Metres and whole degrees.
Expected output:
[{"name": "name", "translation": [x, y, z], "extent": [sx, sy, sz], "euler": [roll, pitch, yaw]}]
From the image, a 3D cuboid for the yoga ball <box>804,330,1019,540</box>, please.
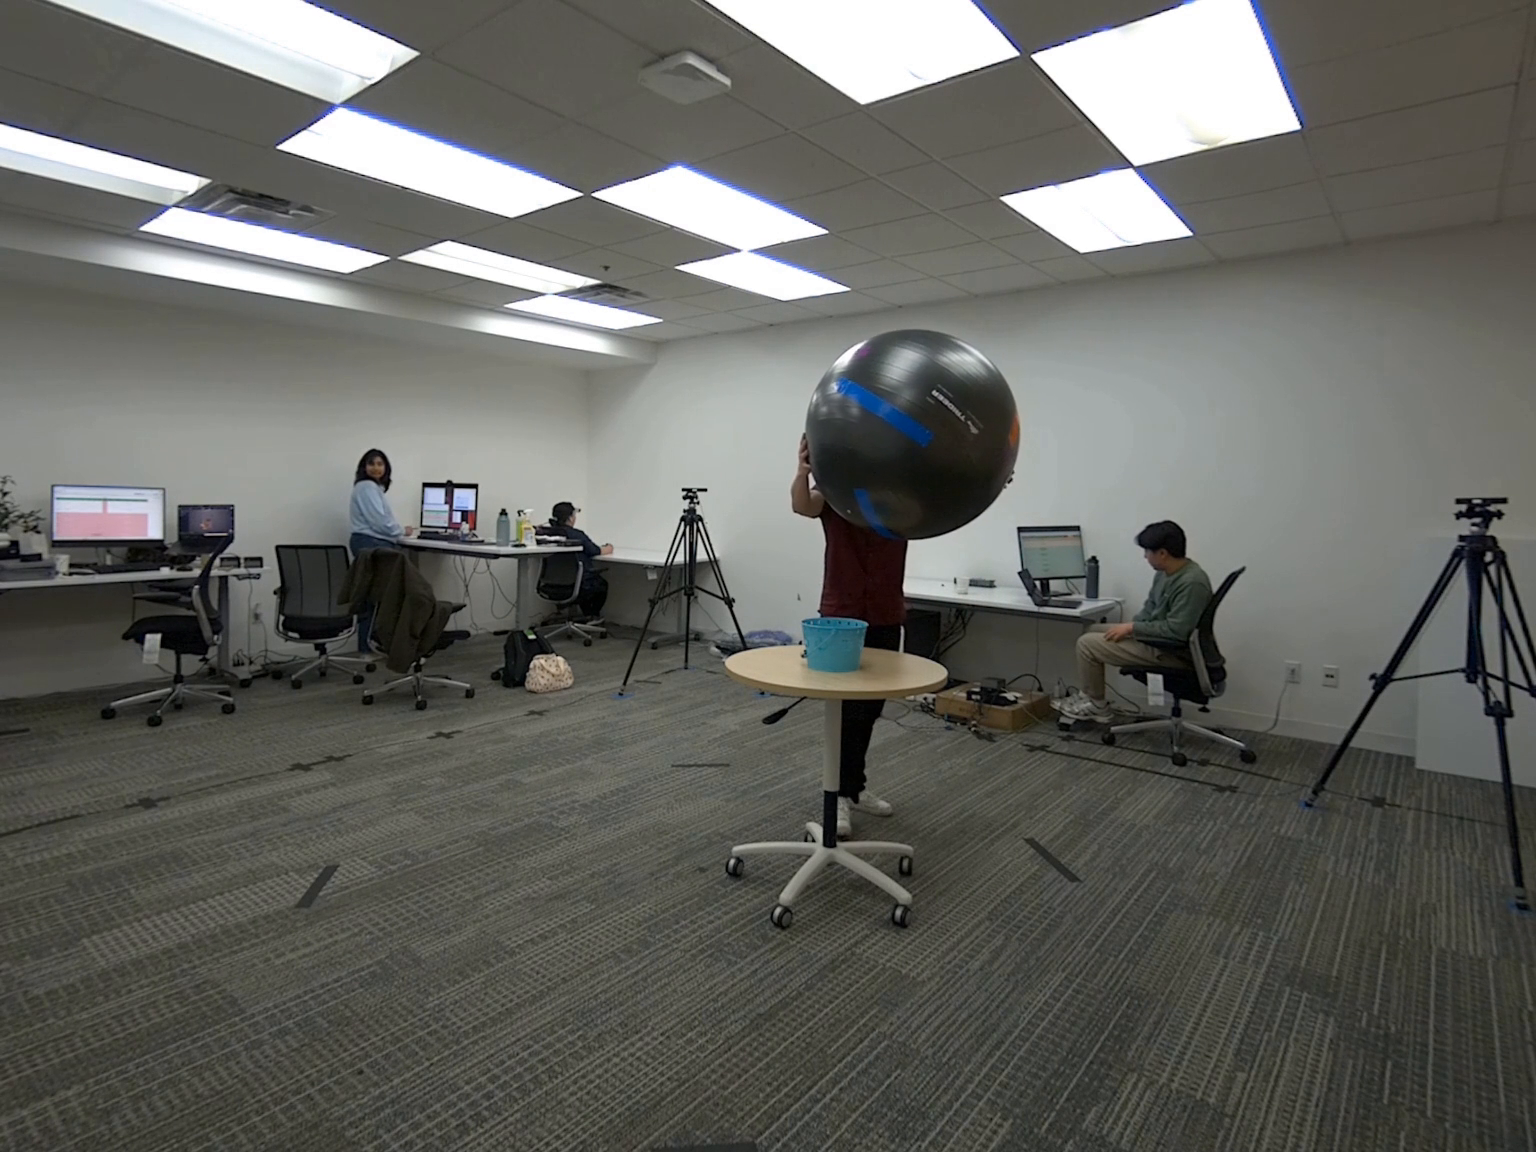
[{"name": "yoga ball", "translation": [0.507, -0.508, 3.091], "extent": [0.757, 0.756, 0.761], "euler": [1, 4, -2]}]
